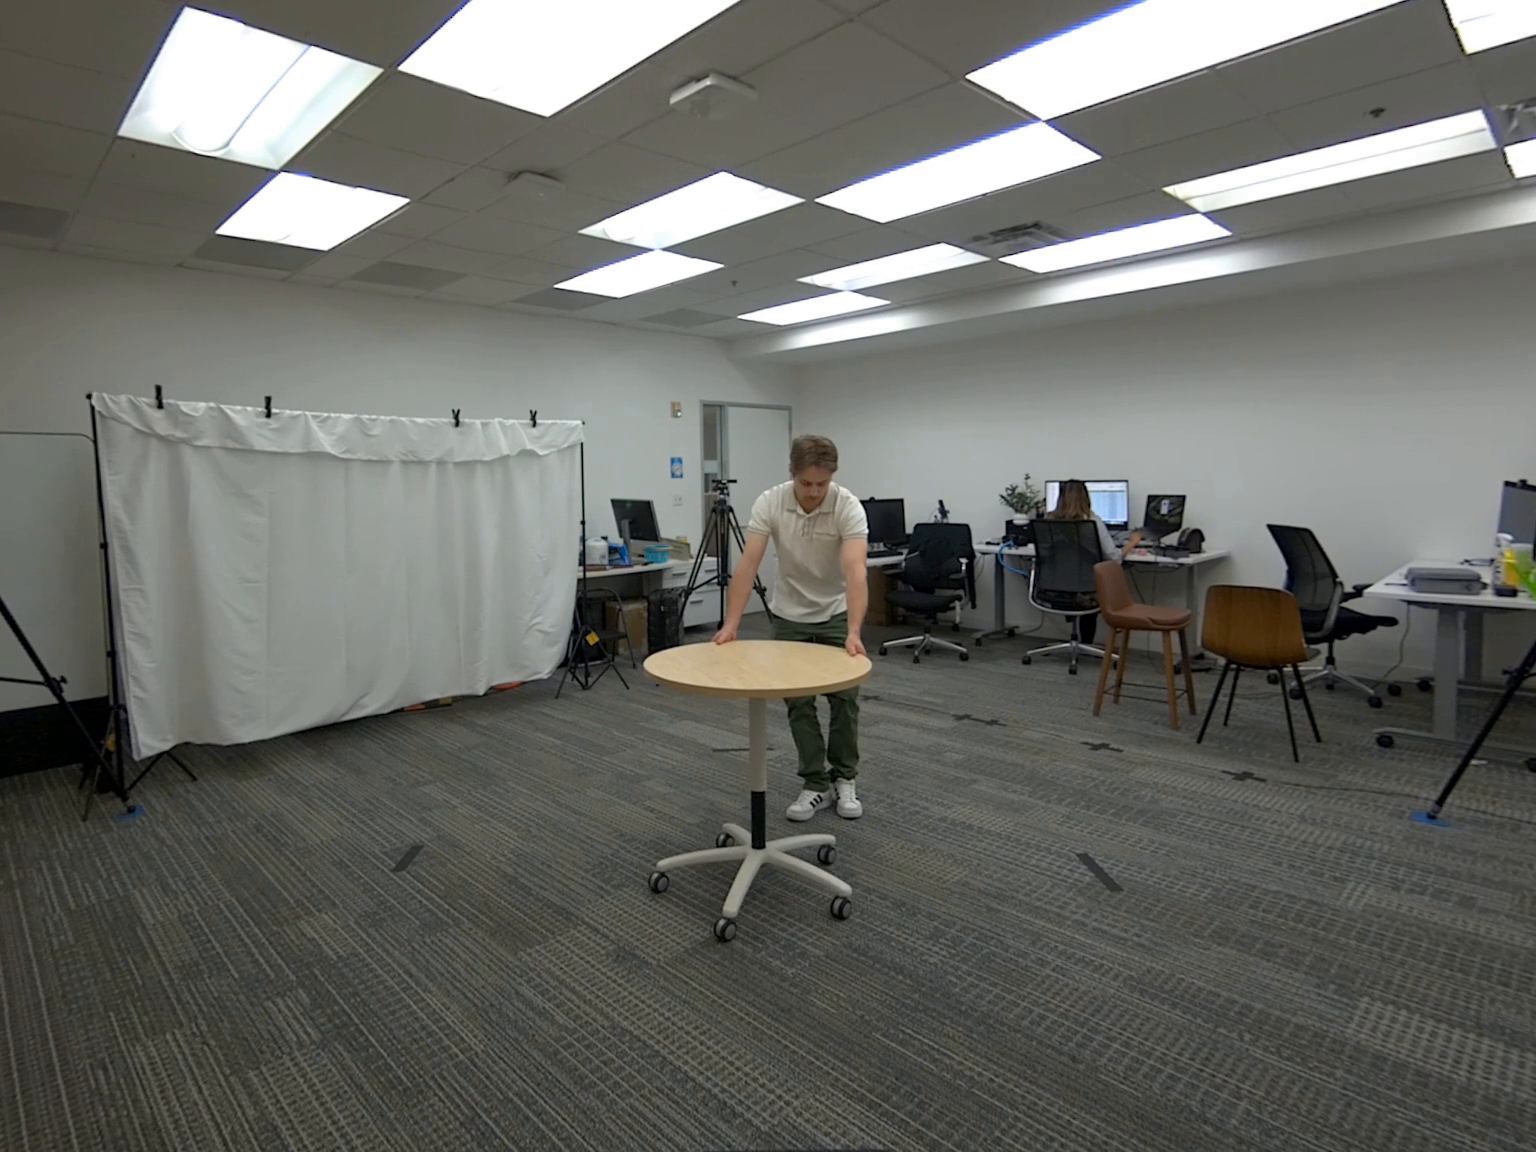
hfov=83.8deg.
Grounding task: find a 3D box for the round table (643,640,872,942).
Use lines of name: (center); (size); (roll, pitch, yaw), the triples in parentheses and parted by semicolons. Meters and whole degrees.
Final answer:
round table: (-0.037, 0.674, 2.923); (0.784, 0.783, 0.789); (-1, 5, -2)
